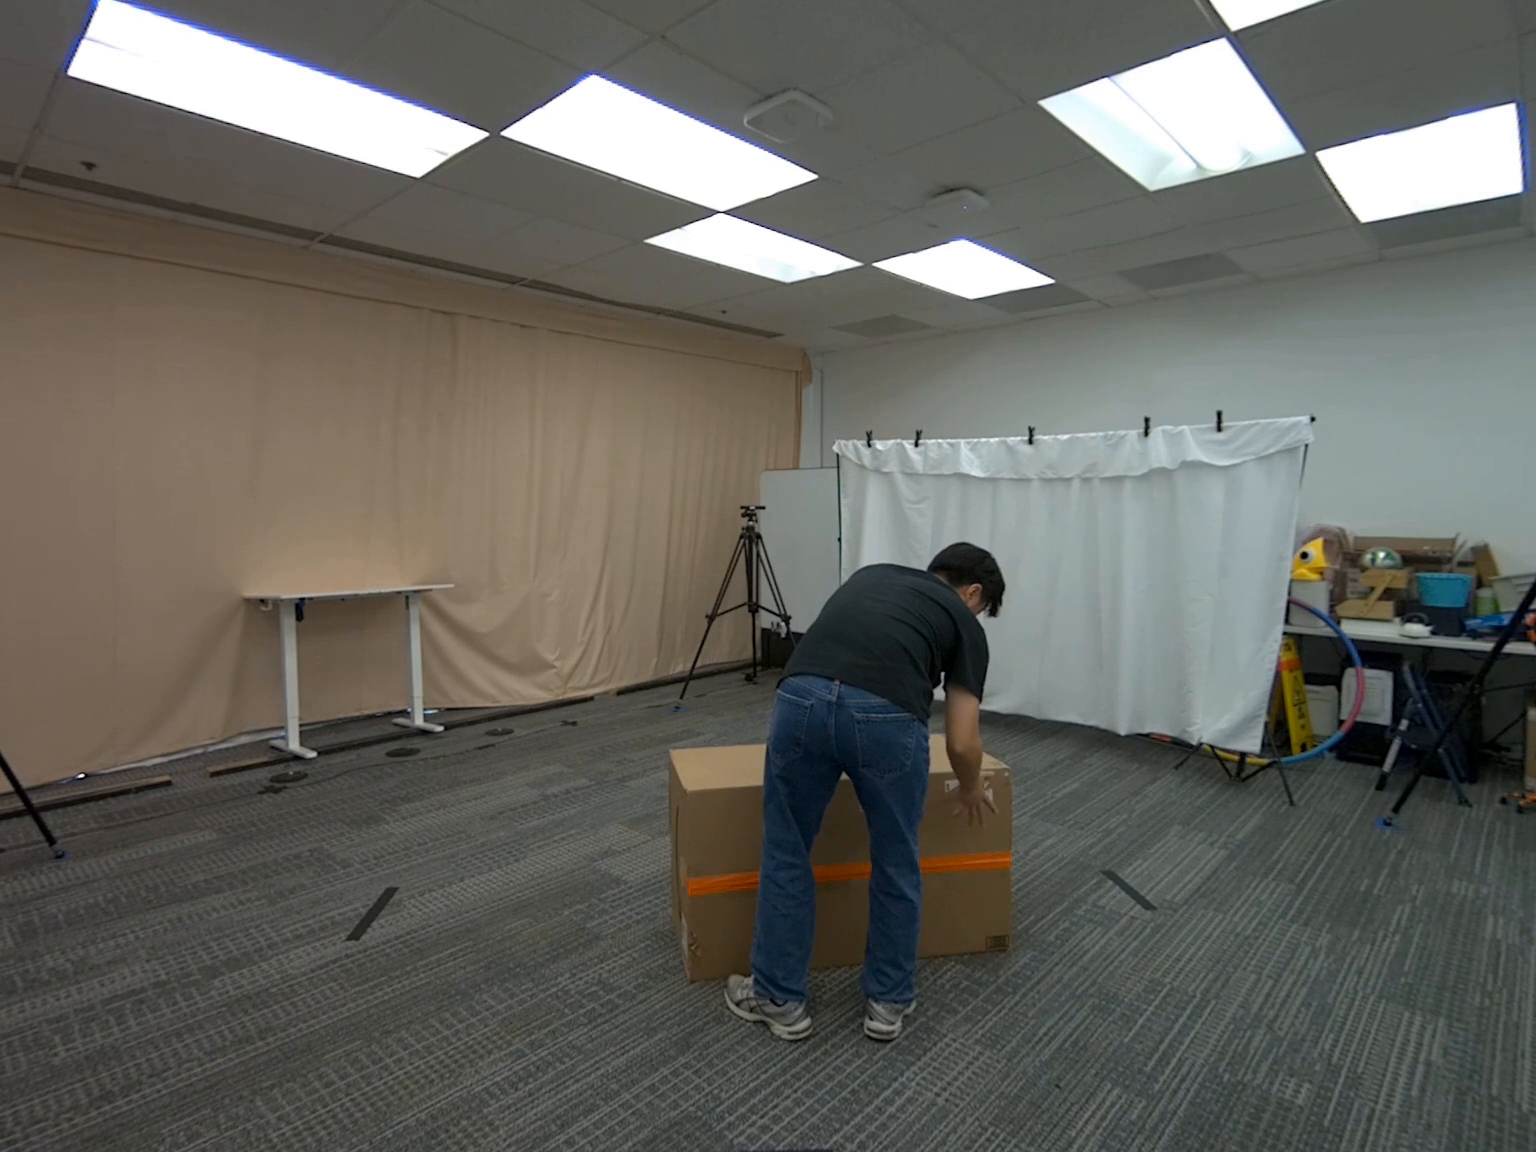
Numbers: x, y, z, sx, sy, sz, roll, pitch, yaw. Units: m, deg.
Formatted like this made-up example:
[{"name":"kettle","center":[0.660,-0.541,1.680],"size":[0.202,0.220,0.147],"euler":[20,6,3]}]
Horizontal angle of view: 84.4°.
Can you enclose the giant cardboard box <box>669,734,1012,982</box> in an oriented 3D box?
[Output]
[{"name":"giant cardboard box","center":[0.213,0.875,2.733],"size":[1.015,0.582,0.453],"euler":[-2,5,-11]}]
